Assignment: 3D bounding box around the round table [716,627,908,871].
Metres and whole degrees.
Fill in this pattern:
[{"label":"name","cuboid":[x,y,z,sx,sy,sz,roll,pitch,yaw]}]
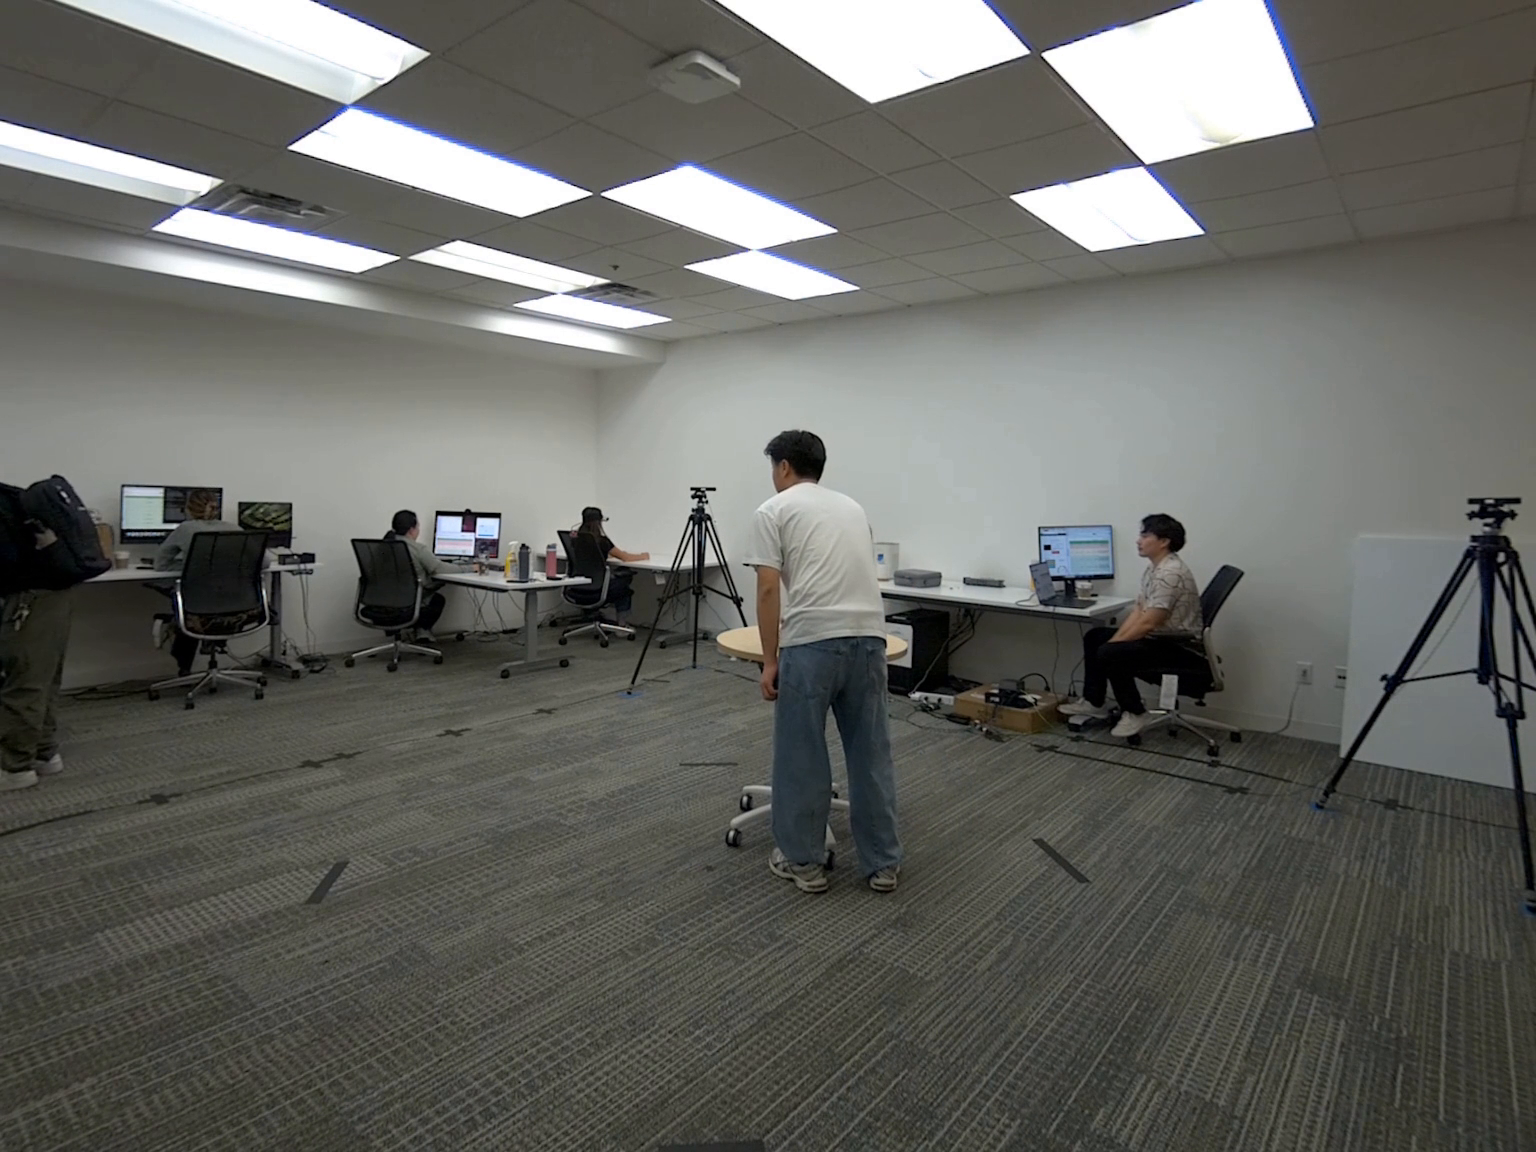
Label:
[{"label":"round table","cuboid":[0.146,0.645,3.466,0.763,0.791,0.768,1,4,-2]}]
